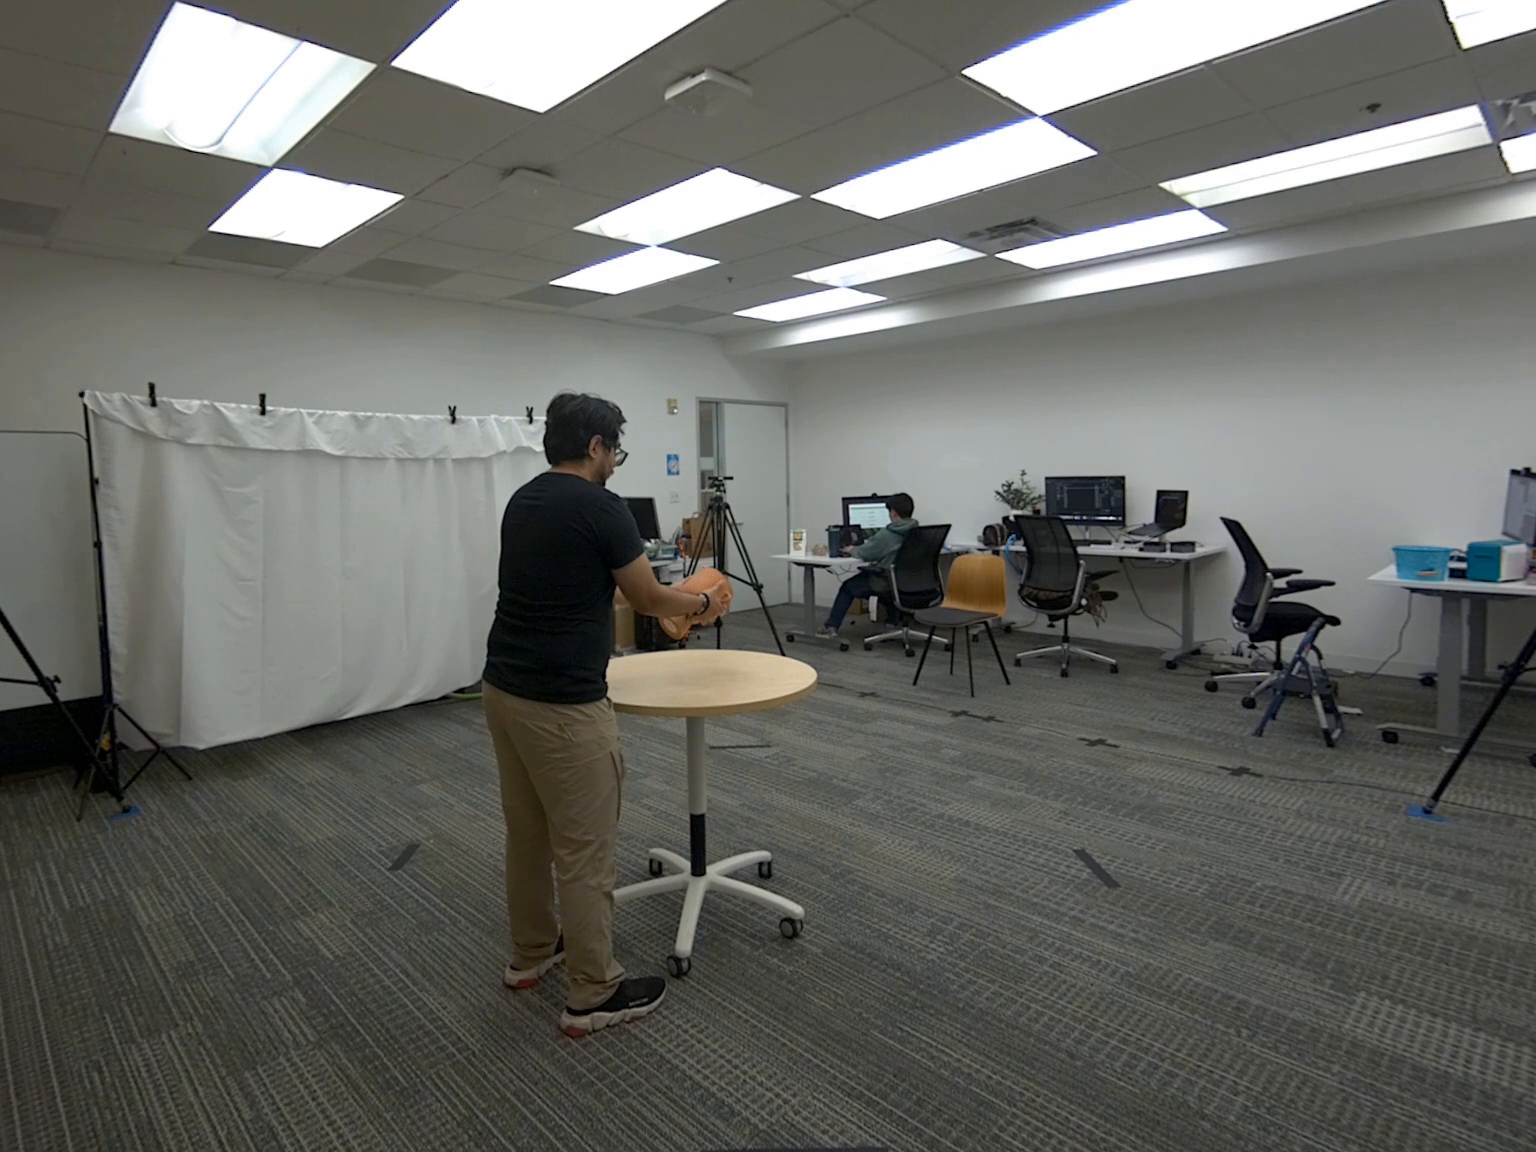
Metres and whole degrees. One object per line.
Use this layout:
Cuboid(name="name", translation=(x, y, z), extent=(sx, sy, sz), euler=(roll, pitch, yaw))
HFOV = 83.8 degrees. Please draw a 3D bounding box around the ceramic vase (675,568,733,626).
Cuboid(name="ceramic vase", translation=(-0.221, 0.085, 2.617), extent=(0.219, 0.135, 0.159), euler=(-41, -1, -30))
